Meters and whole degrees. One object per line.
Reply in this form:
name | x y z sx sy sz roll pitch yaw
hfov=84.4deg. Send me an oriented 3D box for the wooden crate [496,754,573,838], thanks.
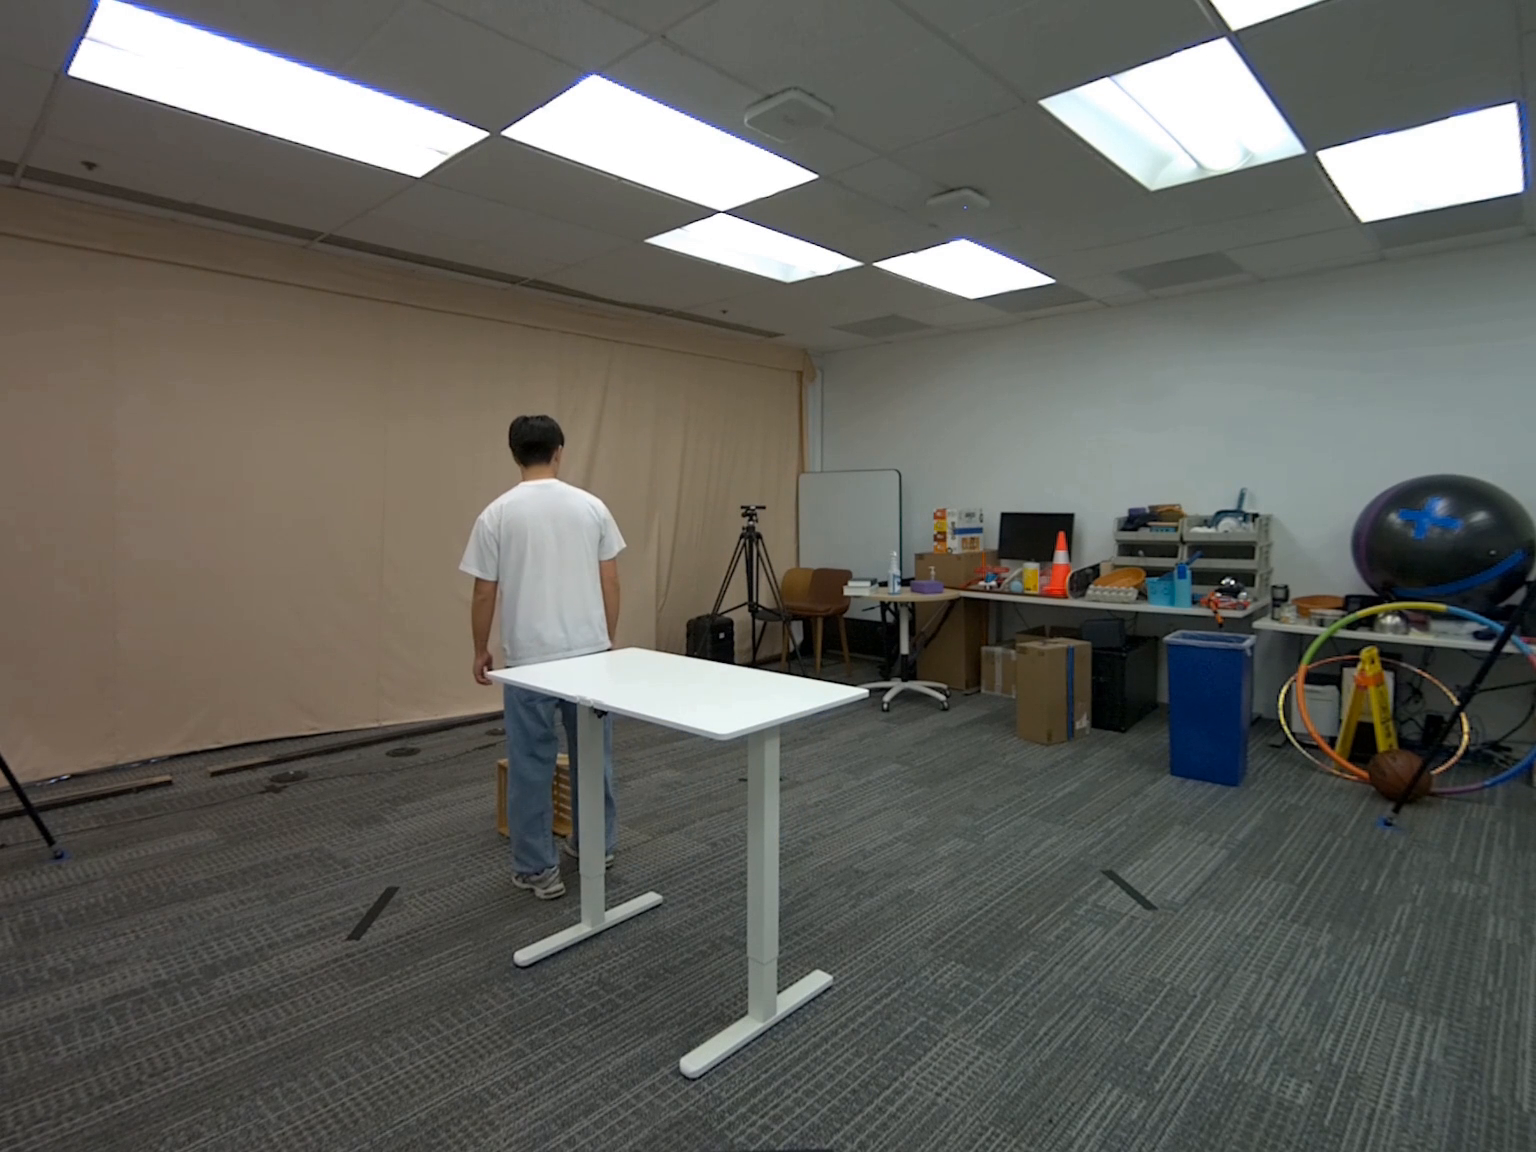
wooden crate | -0.971 0.939 3.571 0.265 0.324 0.312 -3 4 -45
